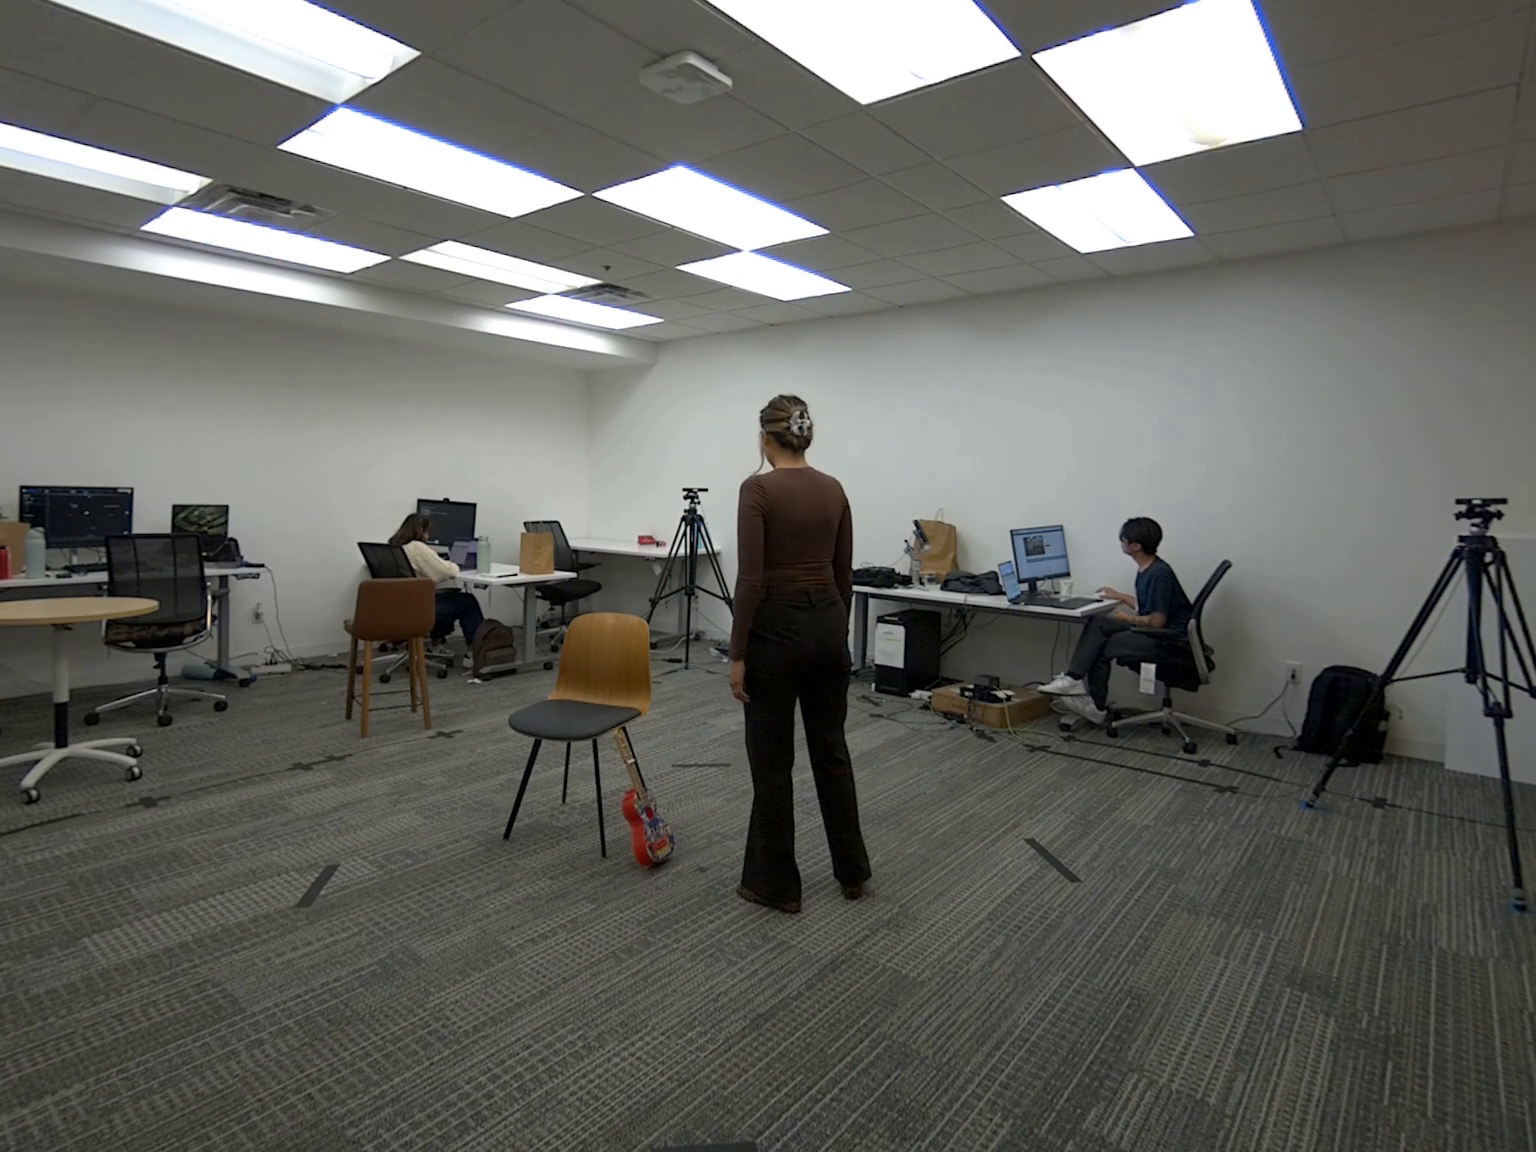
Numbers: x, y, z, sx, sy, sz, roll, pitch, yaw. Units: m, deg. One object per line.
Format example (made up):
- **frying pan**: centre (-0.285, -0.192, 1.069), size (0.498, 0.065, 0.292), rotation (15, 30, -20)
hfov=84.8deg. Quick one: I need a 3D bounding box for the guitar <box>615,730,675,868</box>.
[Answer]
- **guitar**: centre (-0.487, 0.826, 3.206), size (0.071, 0.507, 0.187), rotation (-26, -16, 22)
